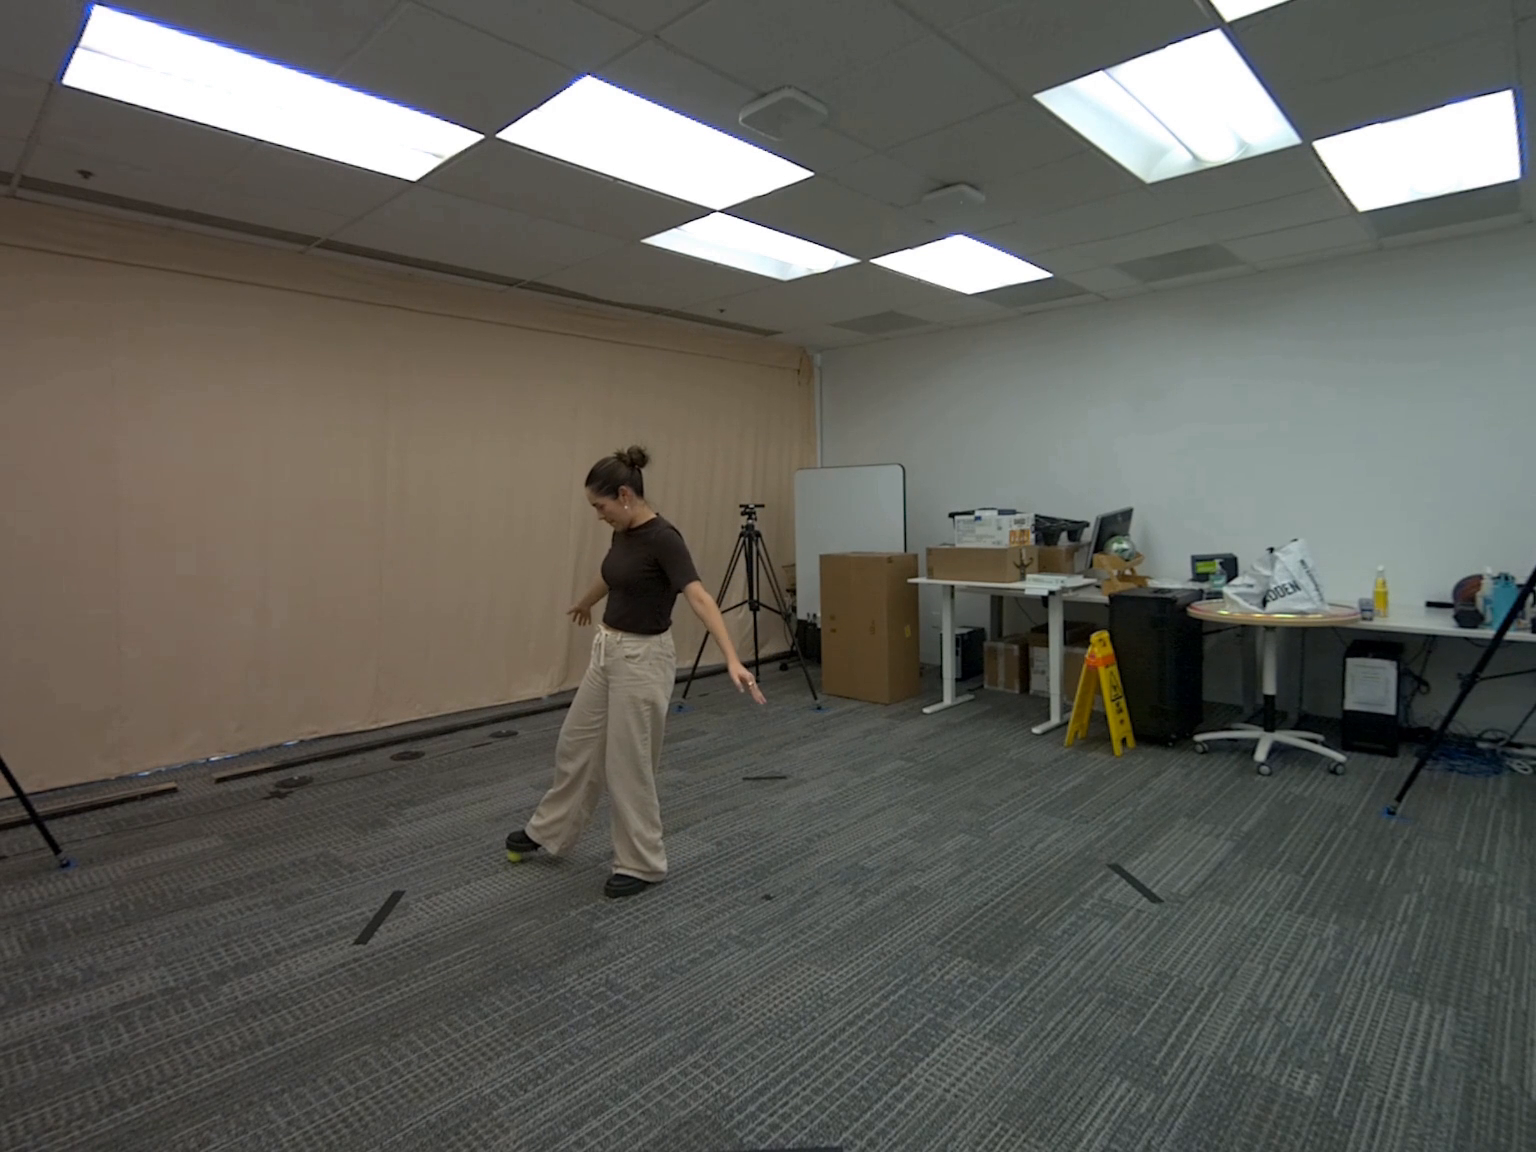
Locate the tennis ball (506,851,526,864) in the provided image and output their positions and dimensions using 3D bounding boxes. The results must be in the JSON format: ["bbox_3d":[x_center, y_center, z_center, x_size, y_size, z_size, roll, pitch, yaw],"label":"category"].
[{"bbox_3d":[-1.001,1.096,3.351,0.066,0.066,0.067,-1,4,-2],"label":"tennis ball"}]
